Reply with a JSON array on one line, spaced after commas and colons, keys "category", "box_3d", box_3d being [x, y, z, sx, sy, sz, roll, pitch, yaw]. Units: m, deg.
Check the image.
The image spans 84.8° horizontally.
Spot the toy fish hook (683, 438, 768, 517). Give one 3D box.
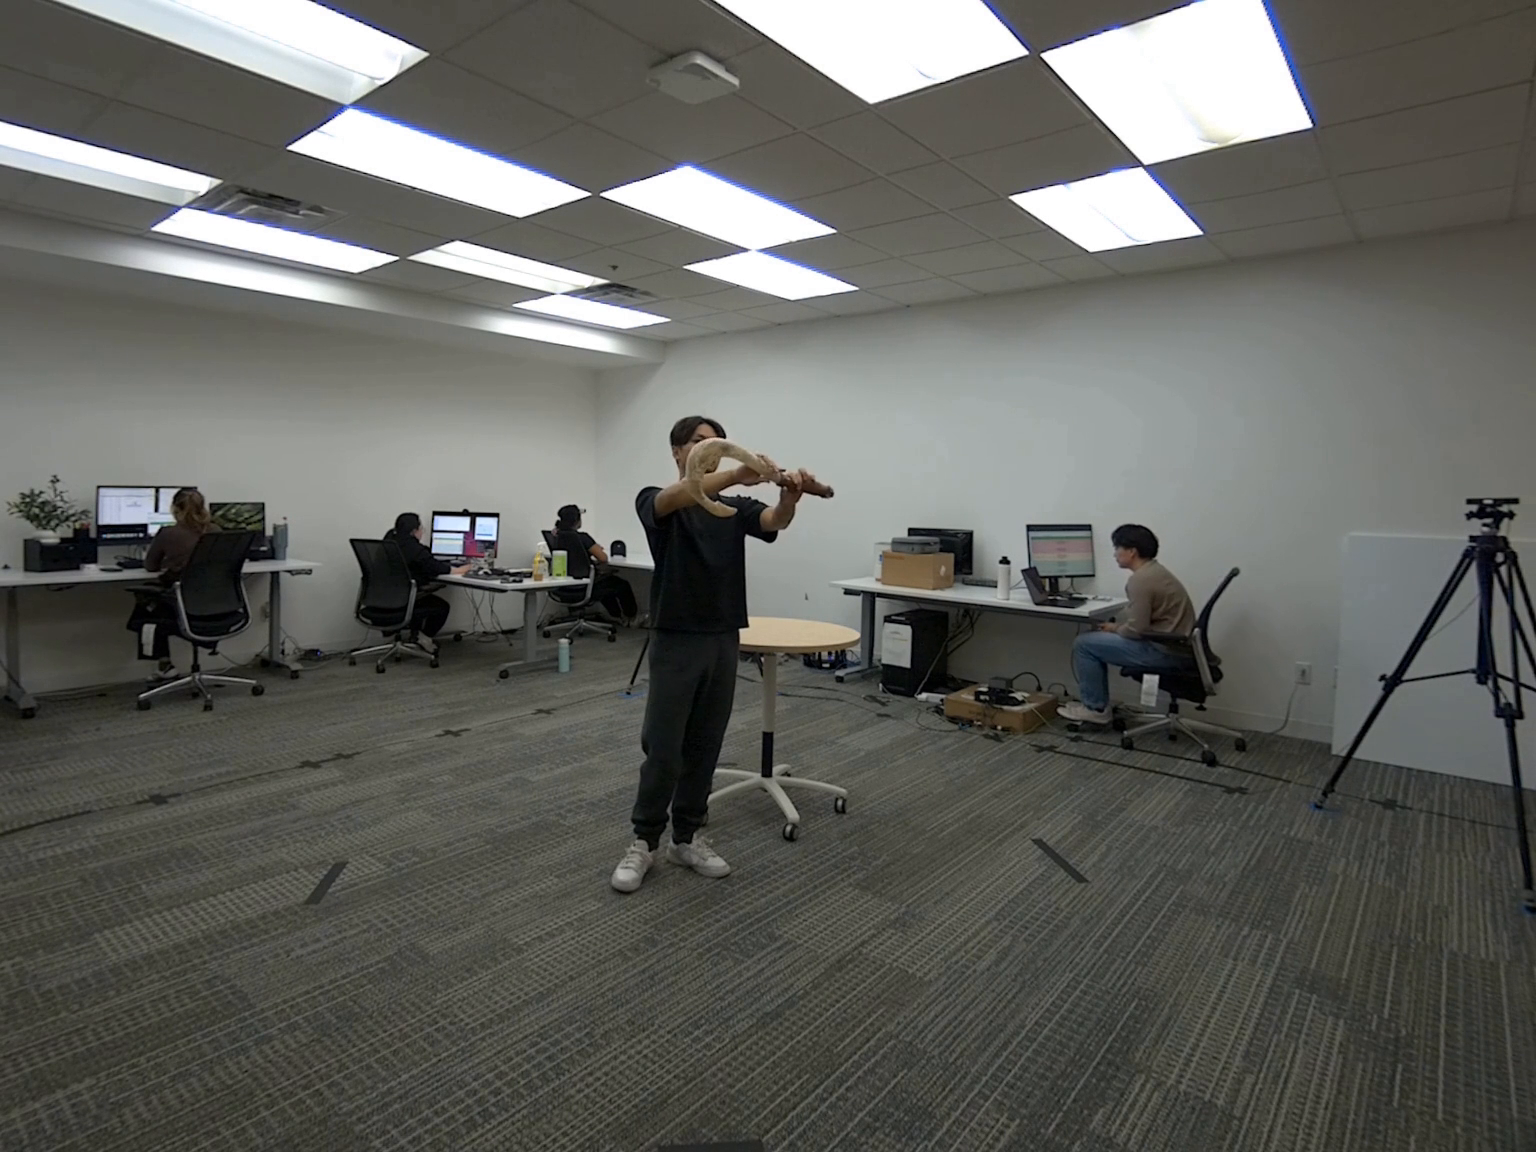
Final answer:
[{"category": "toy fish hook", "box_3d": [-0.039, -0.270, 2.595, 0.494, 0.224, 0.049, 16, 0, -21]}]
